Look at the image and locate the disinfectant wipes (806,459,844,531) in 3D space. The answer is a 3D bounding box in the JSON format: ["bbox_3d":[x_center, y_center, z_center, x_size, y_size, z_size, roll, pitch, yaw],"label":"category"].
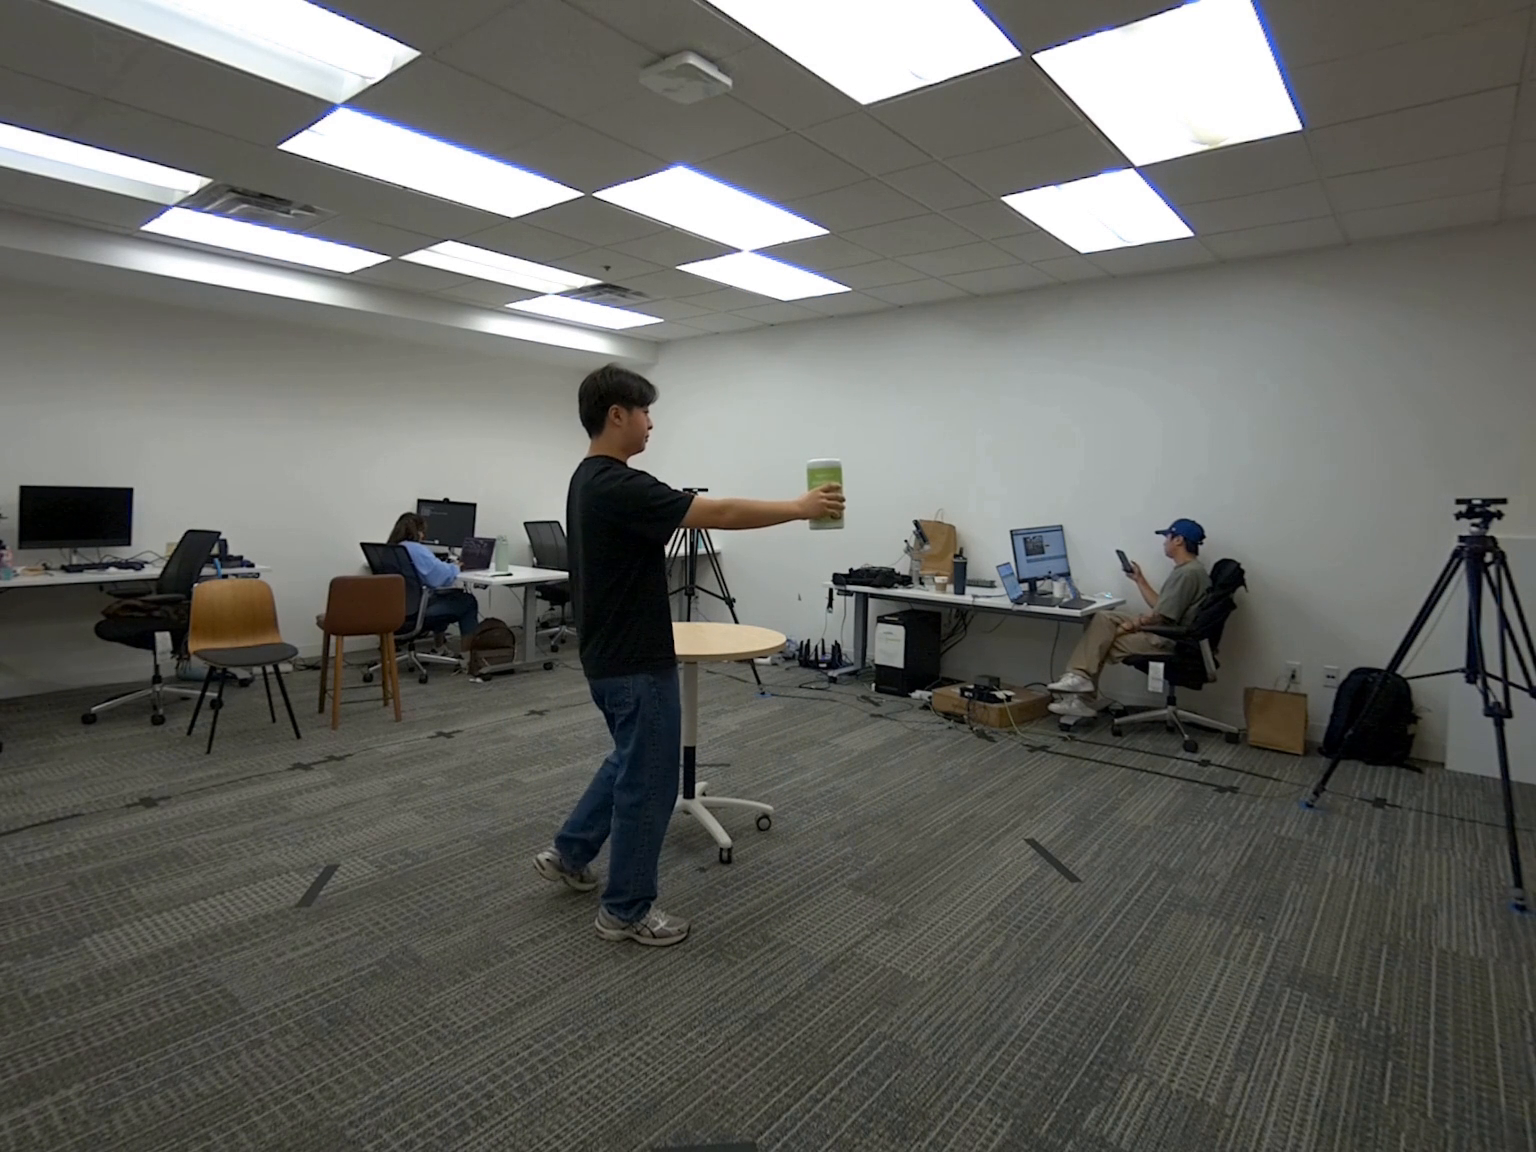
[{"bbox_3d":[0.167,-0.252,2.626,0.118,0.217,0.118,-2,1,-2],"label":"disinfectant wipes"}]
